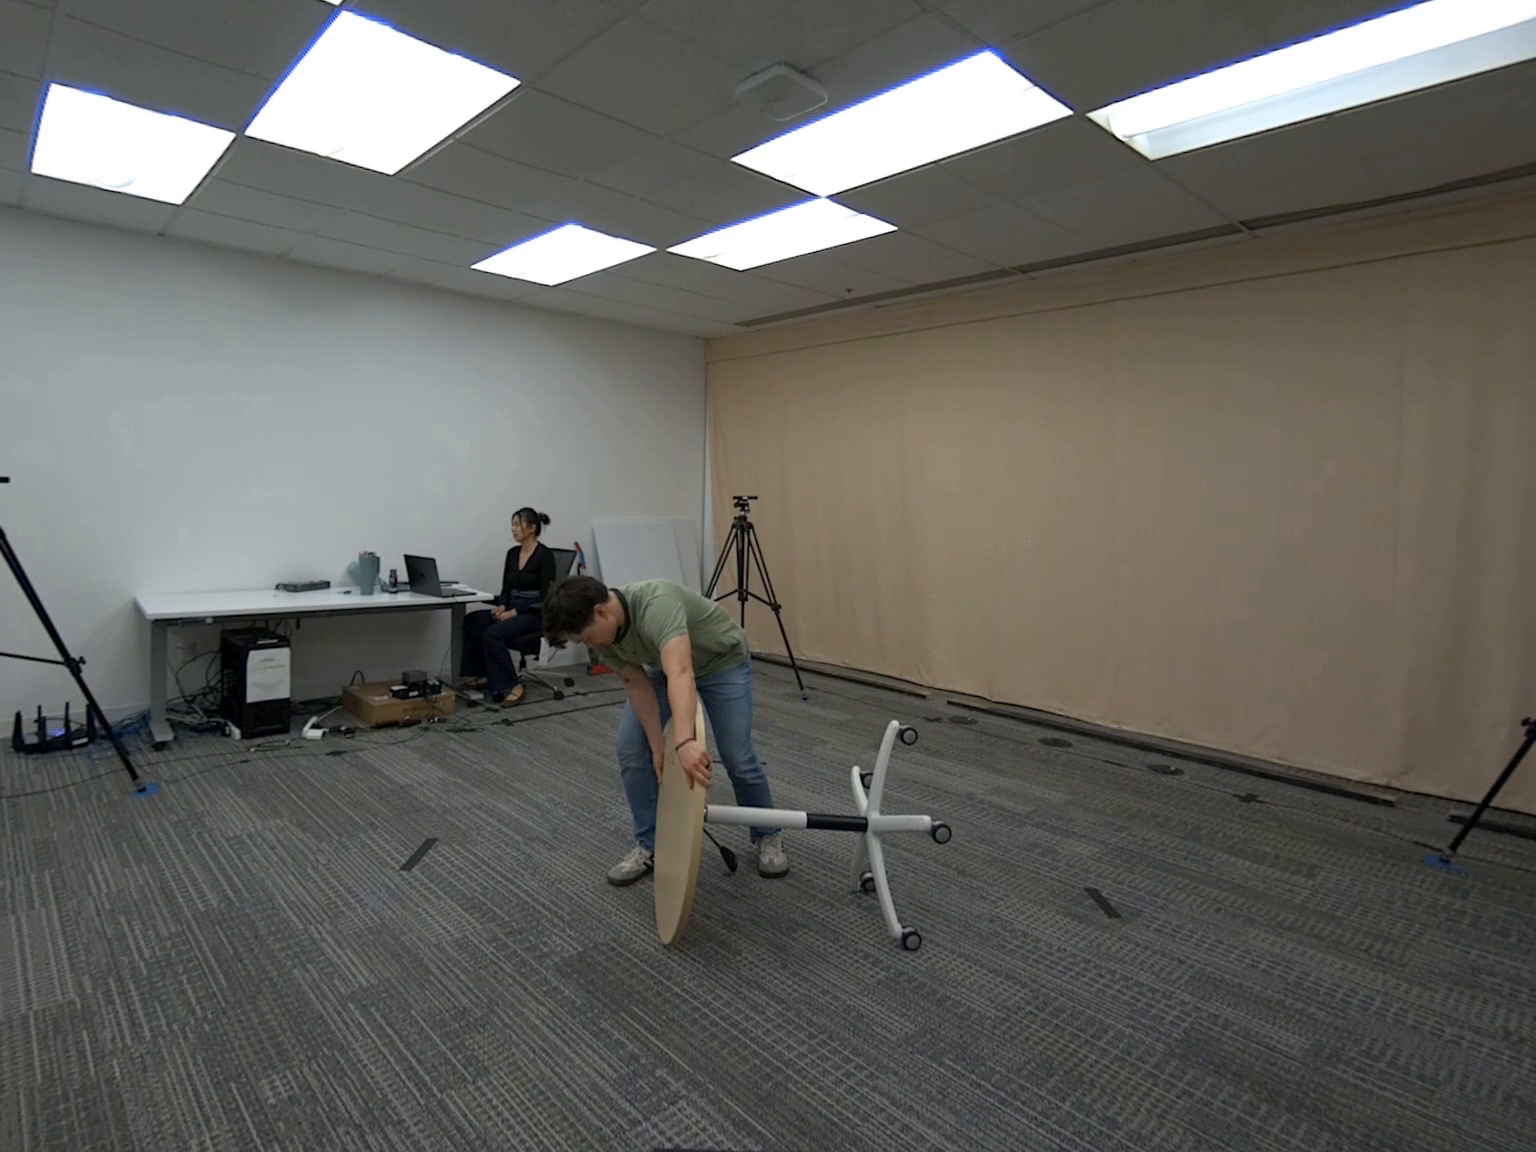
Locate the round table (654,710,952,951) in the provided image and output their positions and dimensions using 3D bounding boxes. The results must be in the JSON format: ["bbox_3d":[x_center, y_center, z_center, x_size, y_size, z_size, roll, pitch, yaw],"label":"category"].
[{"bbox_3d":[0.076,0.805,2.757,0.786,0.763,0.773,7,3,-12],"label":"round table"}]
